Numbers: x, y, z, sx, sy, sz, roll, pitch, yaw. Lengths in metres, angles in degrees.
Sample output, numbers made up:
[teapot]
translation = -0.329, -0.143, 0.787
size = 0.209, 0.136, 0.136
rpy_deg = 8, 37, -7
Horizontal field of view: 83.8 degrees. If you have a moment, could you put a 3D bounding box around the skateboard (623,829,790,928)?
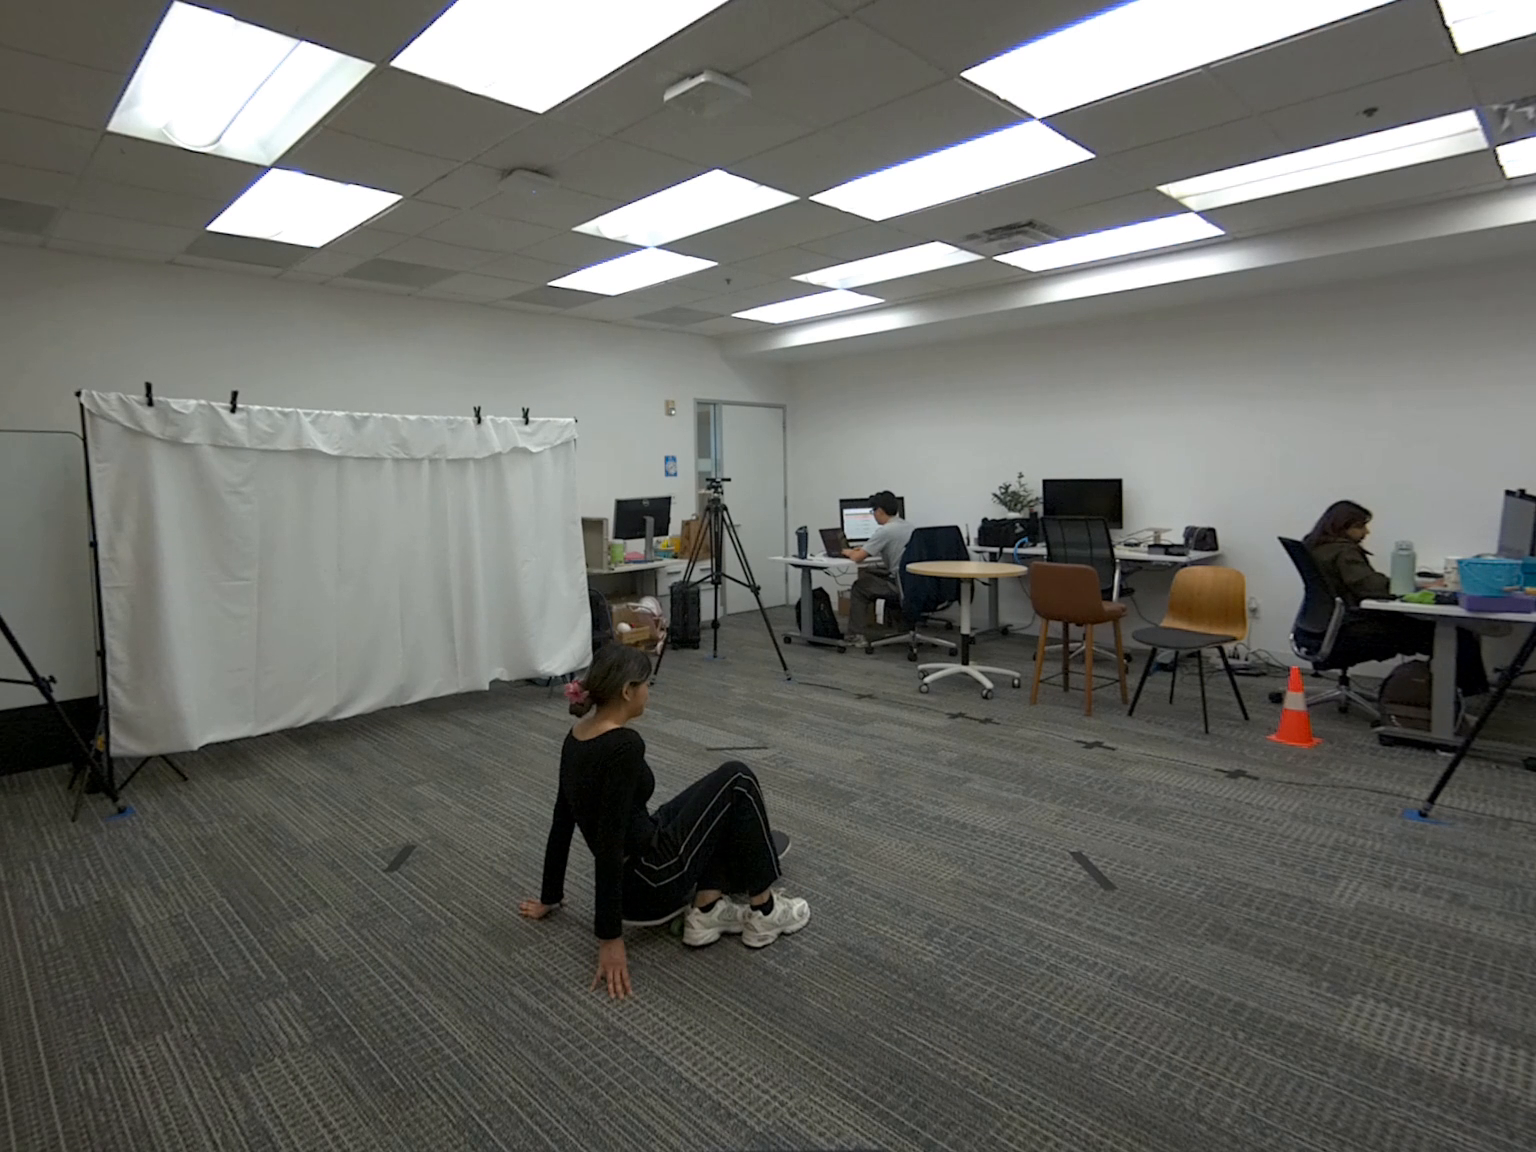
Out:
[skateboard]
translation = -0.203, 1.031, 2.817
size = 0.199, 0.110, 0.766
rpy_deg = 2, 7, 41
